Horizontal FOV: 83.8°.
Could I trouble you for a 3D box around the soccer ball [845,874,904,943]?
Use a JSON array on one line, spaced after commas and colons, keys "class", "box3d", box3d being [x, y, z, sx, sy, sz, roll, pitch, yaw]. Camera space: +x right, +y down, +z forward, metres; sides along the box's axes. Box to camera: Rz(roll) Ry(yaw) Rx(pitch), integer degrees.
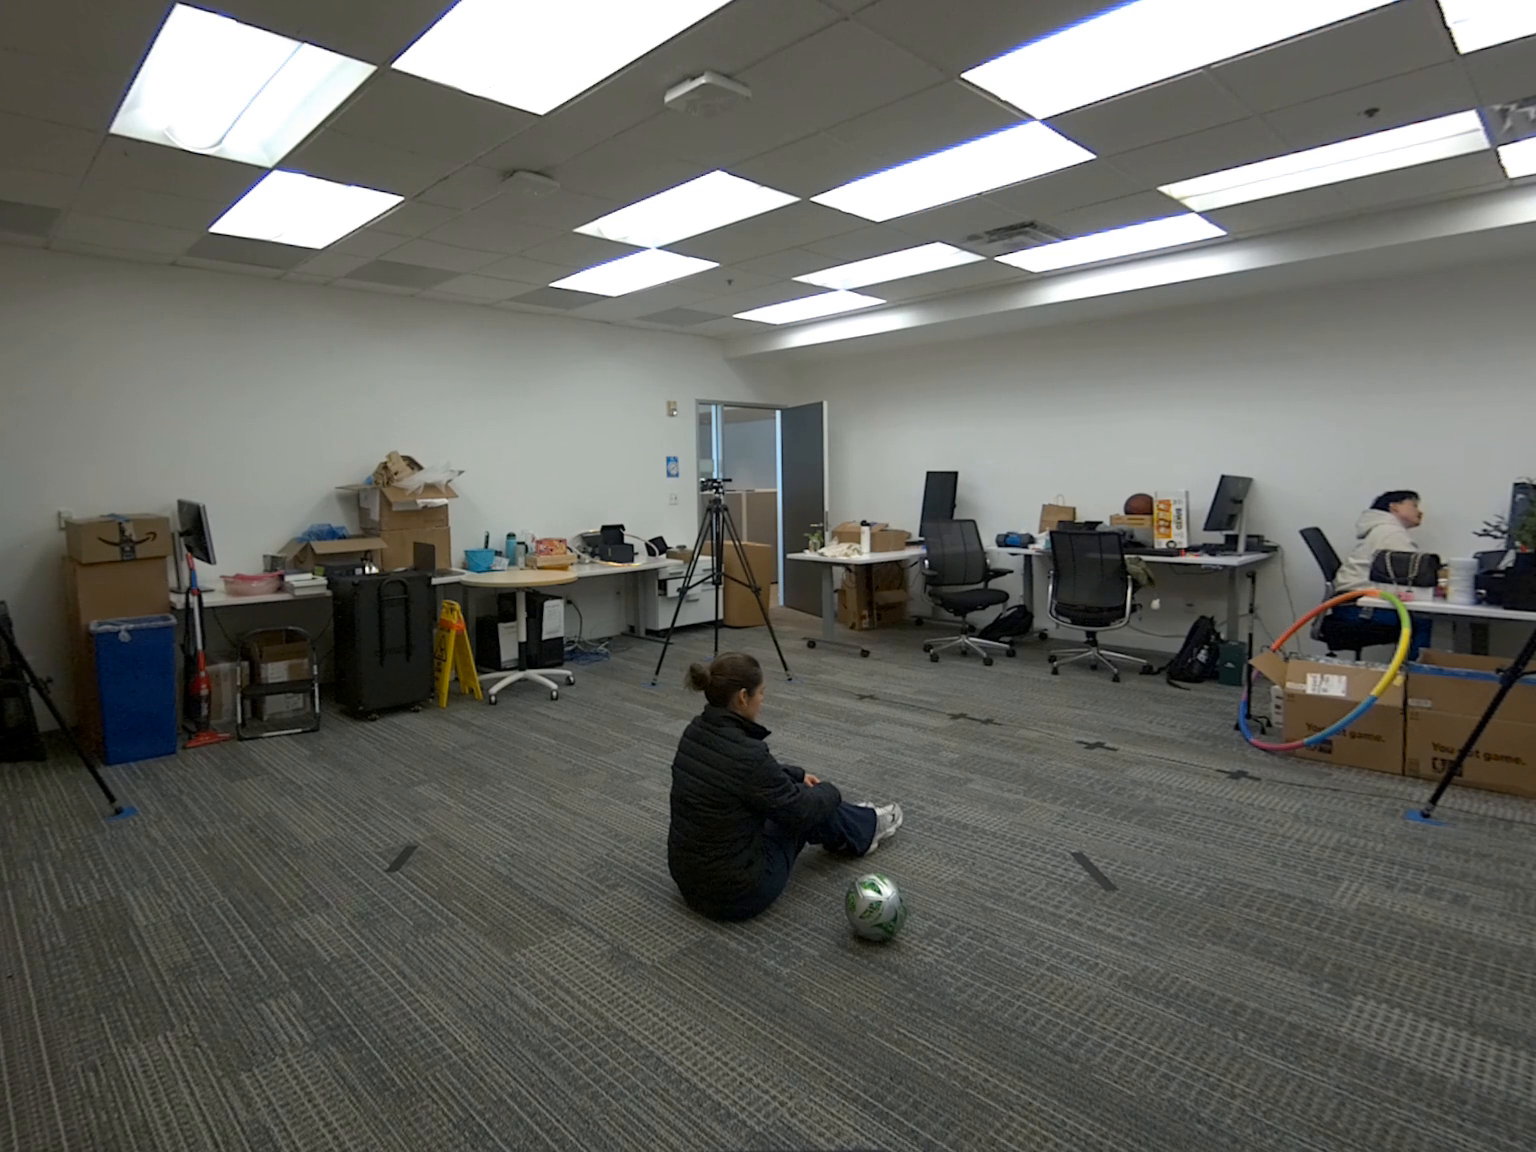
[{"class": "soccer ball", "box3d": [0.323, 0.999, 2.597, 0.187, 0.187, 0.188, 0, 1, -2]}]
